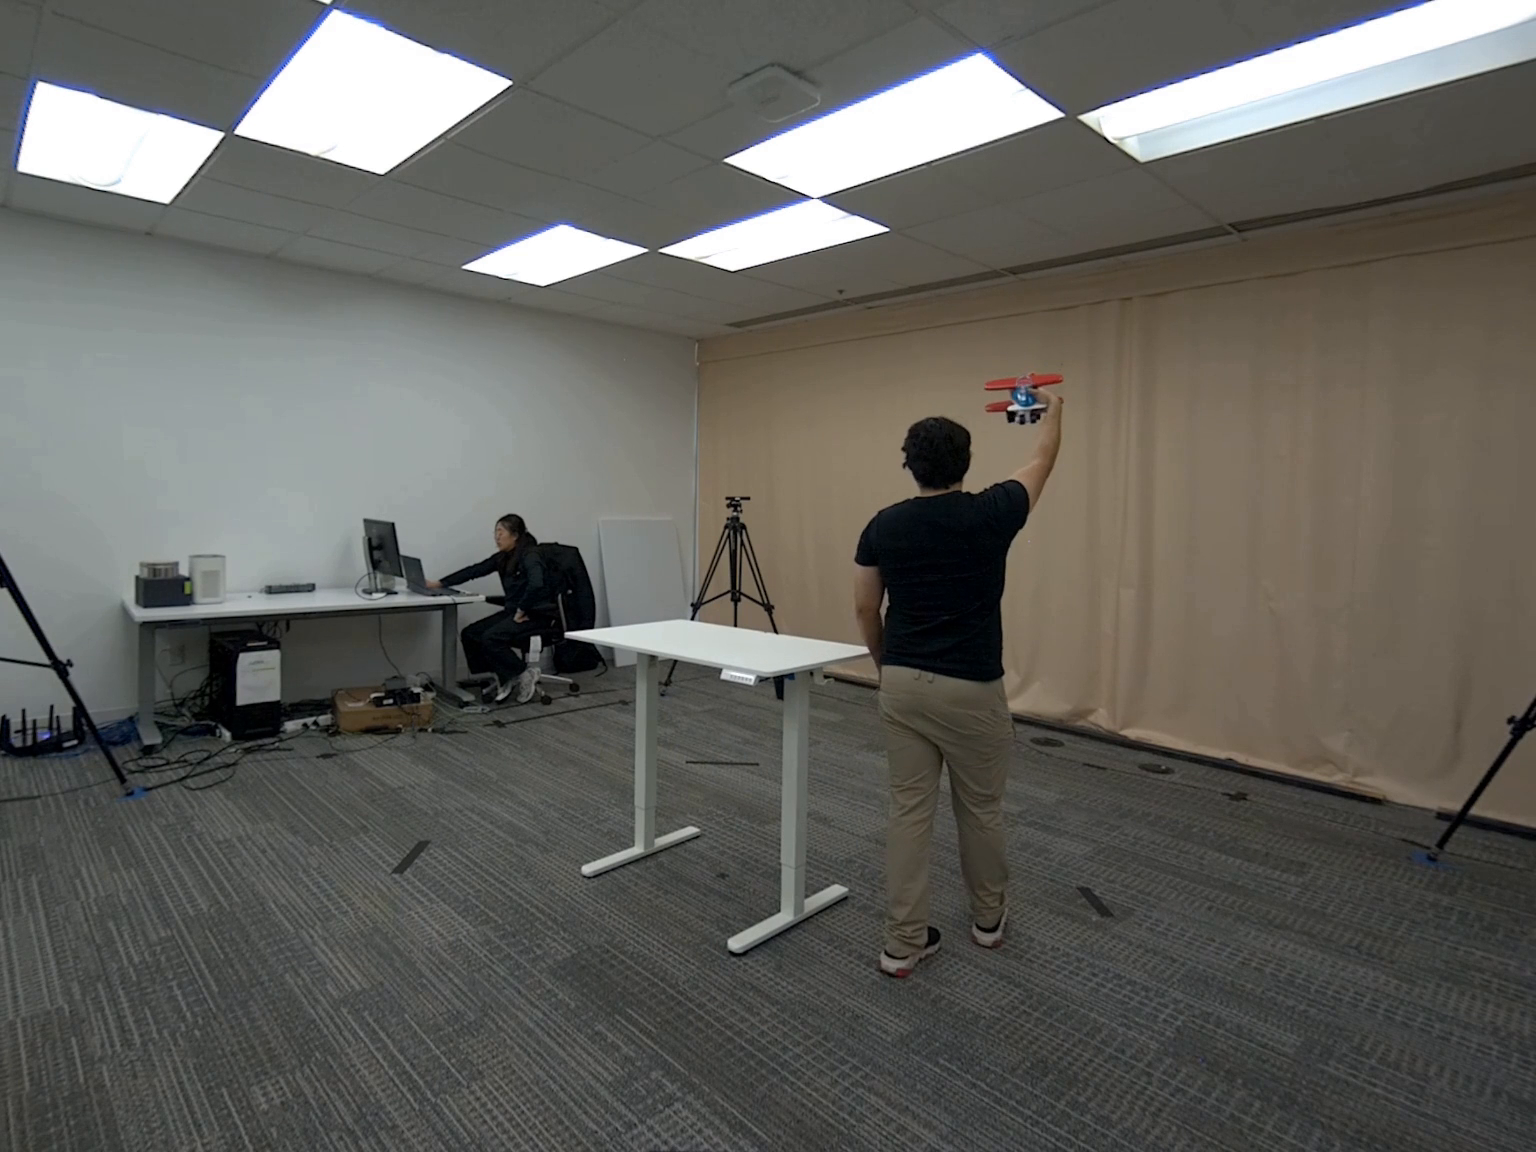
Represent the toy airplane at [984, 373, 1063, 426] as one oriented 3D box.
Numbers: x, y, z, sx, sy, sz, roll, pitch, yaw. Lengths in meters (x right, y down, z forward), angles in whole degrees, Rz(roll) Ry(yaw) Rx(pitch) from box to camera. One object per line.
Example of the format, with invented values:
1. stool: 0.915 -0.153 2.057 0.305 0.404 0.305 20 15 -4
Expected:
1. toy airplane: 0.884 -0.600 2.846 0.249 0.155 0.263 -11 11 -12
